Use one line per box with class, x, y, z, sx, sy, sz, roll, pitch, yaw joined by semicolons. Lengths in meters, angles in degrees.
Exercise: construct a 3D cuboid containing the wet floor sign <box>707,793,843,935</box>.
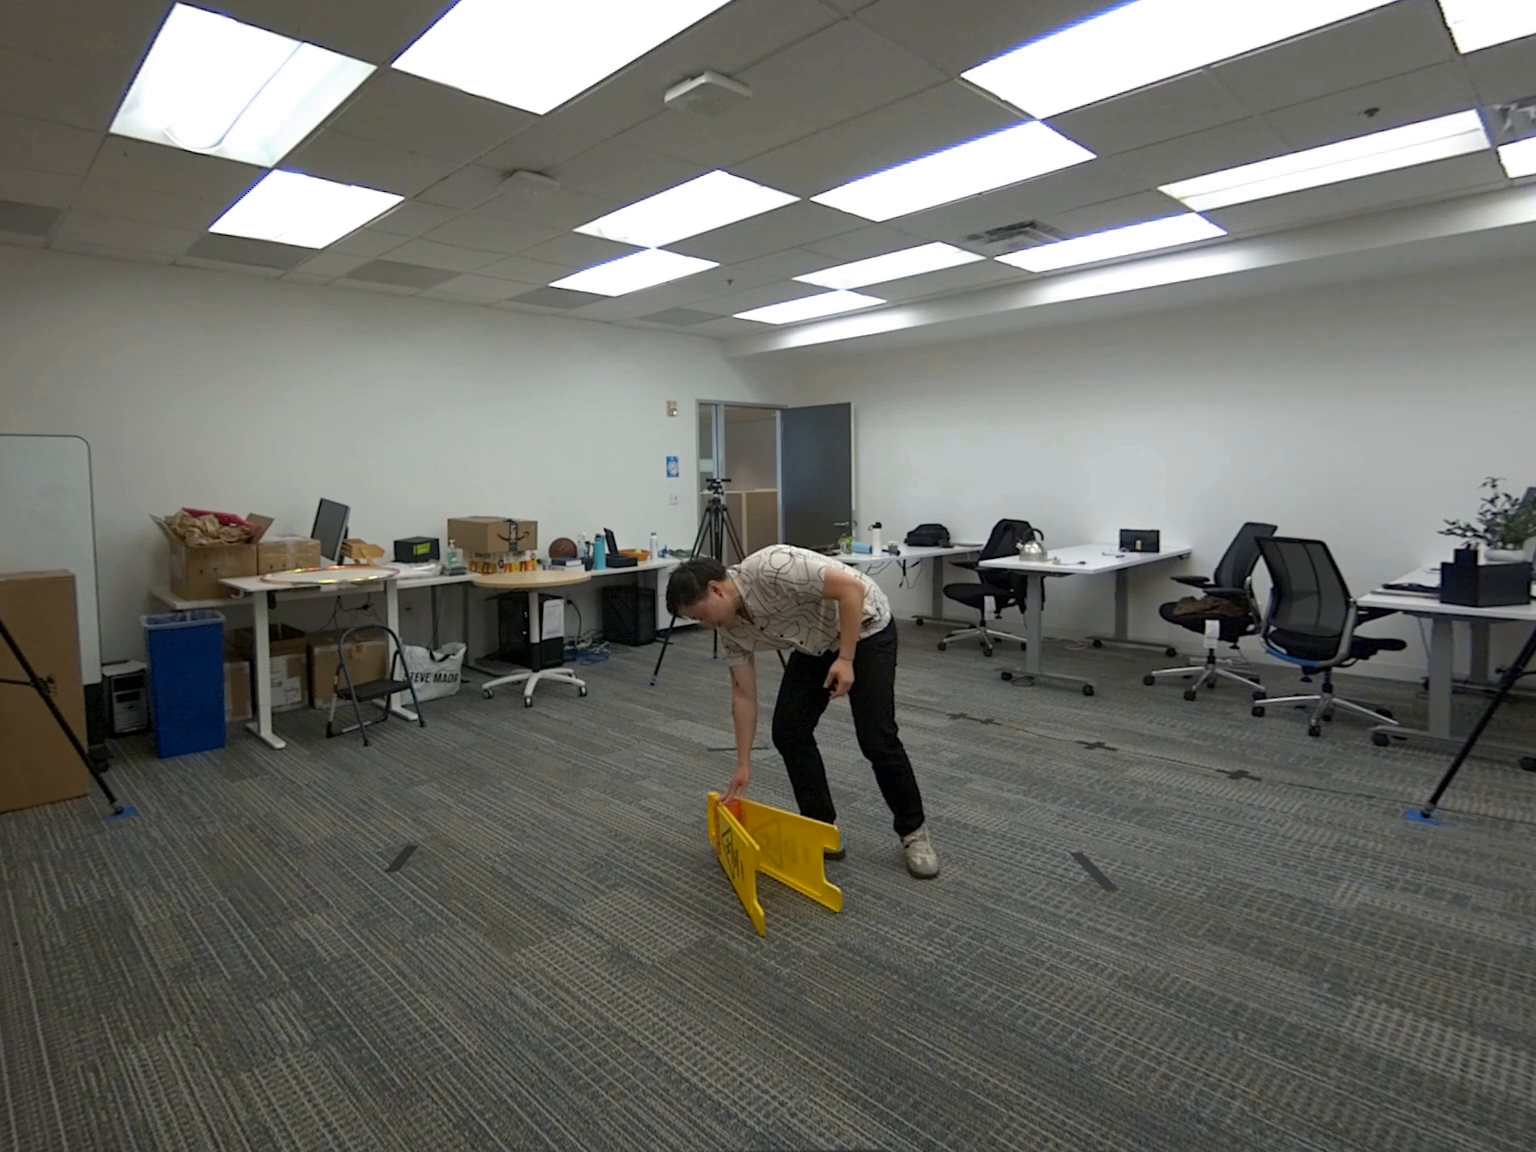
wet floor sign;-0.057;0.931;2.947;0.283;0.281;0.663;-5;6;-29
